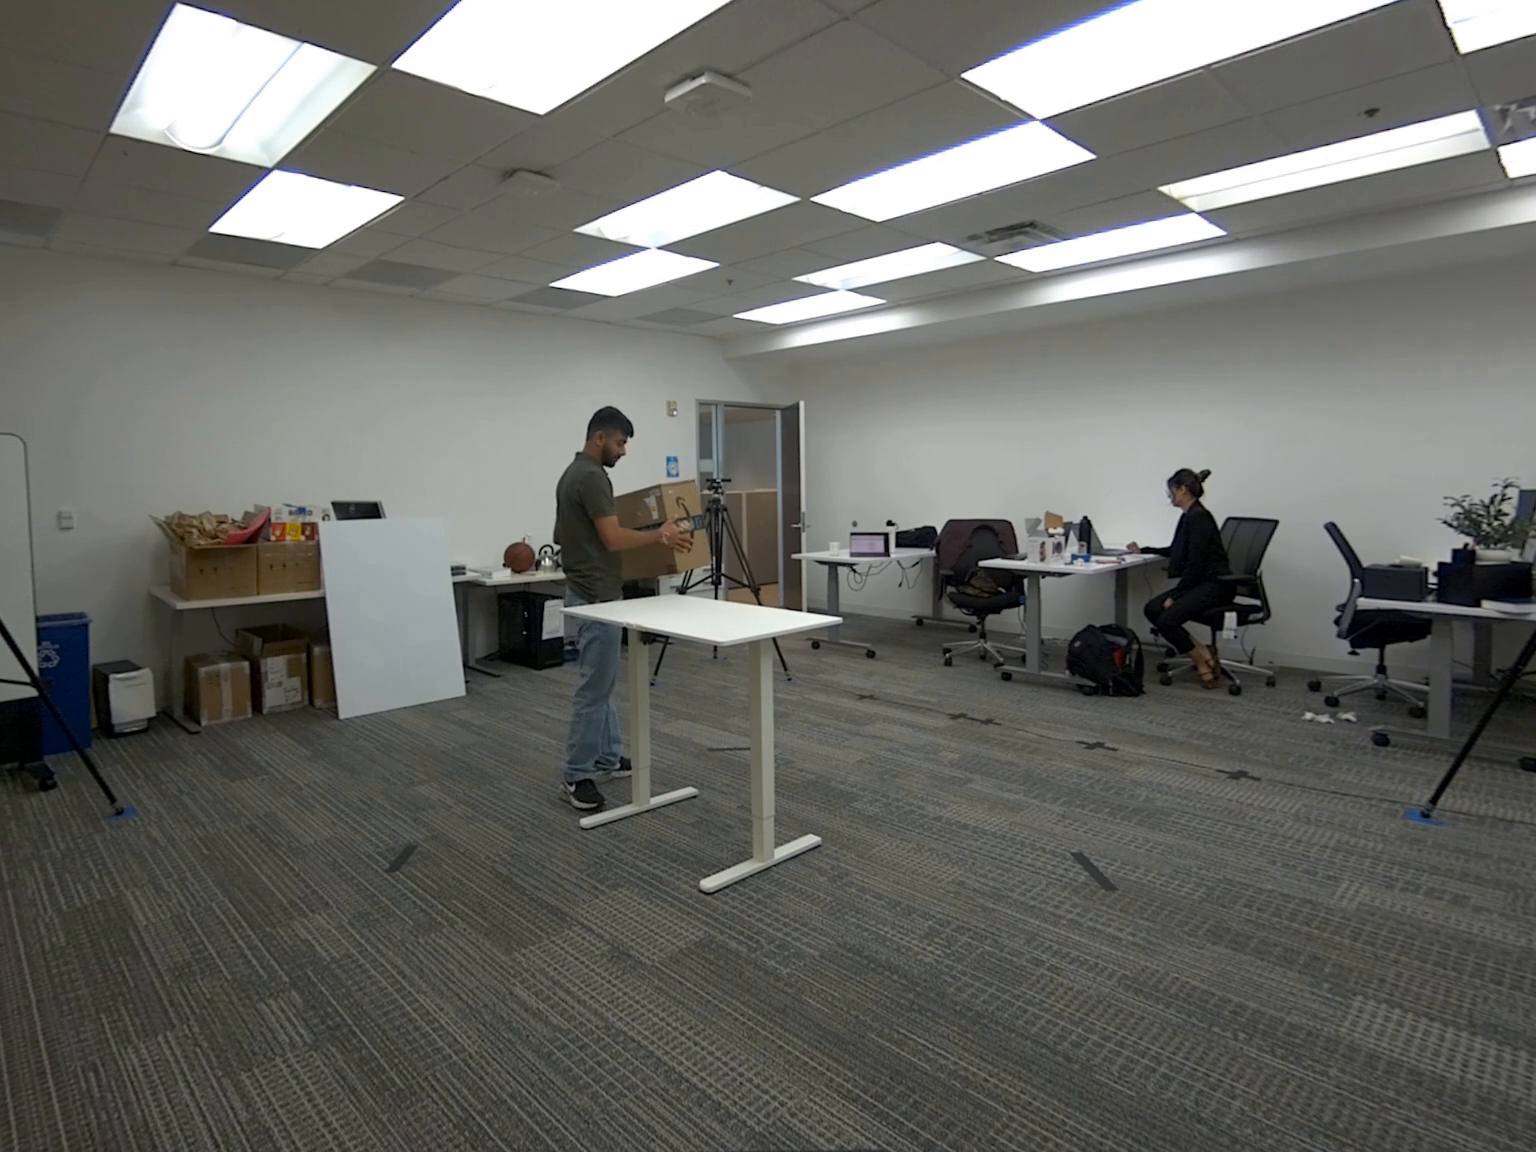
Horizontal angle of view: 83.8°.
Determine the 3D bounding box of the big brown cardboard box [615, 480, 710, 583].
[{"bbox_3d":[-0.568,-0.213,4.159,0.228,0.417,0.603,-14,4,-41],"label":"big brown cardboard box"}]
